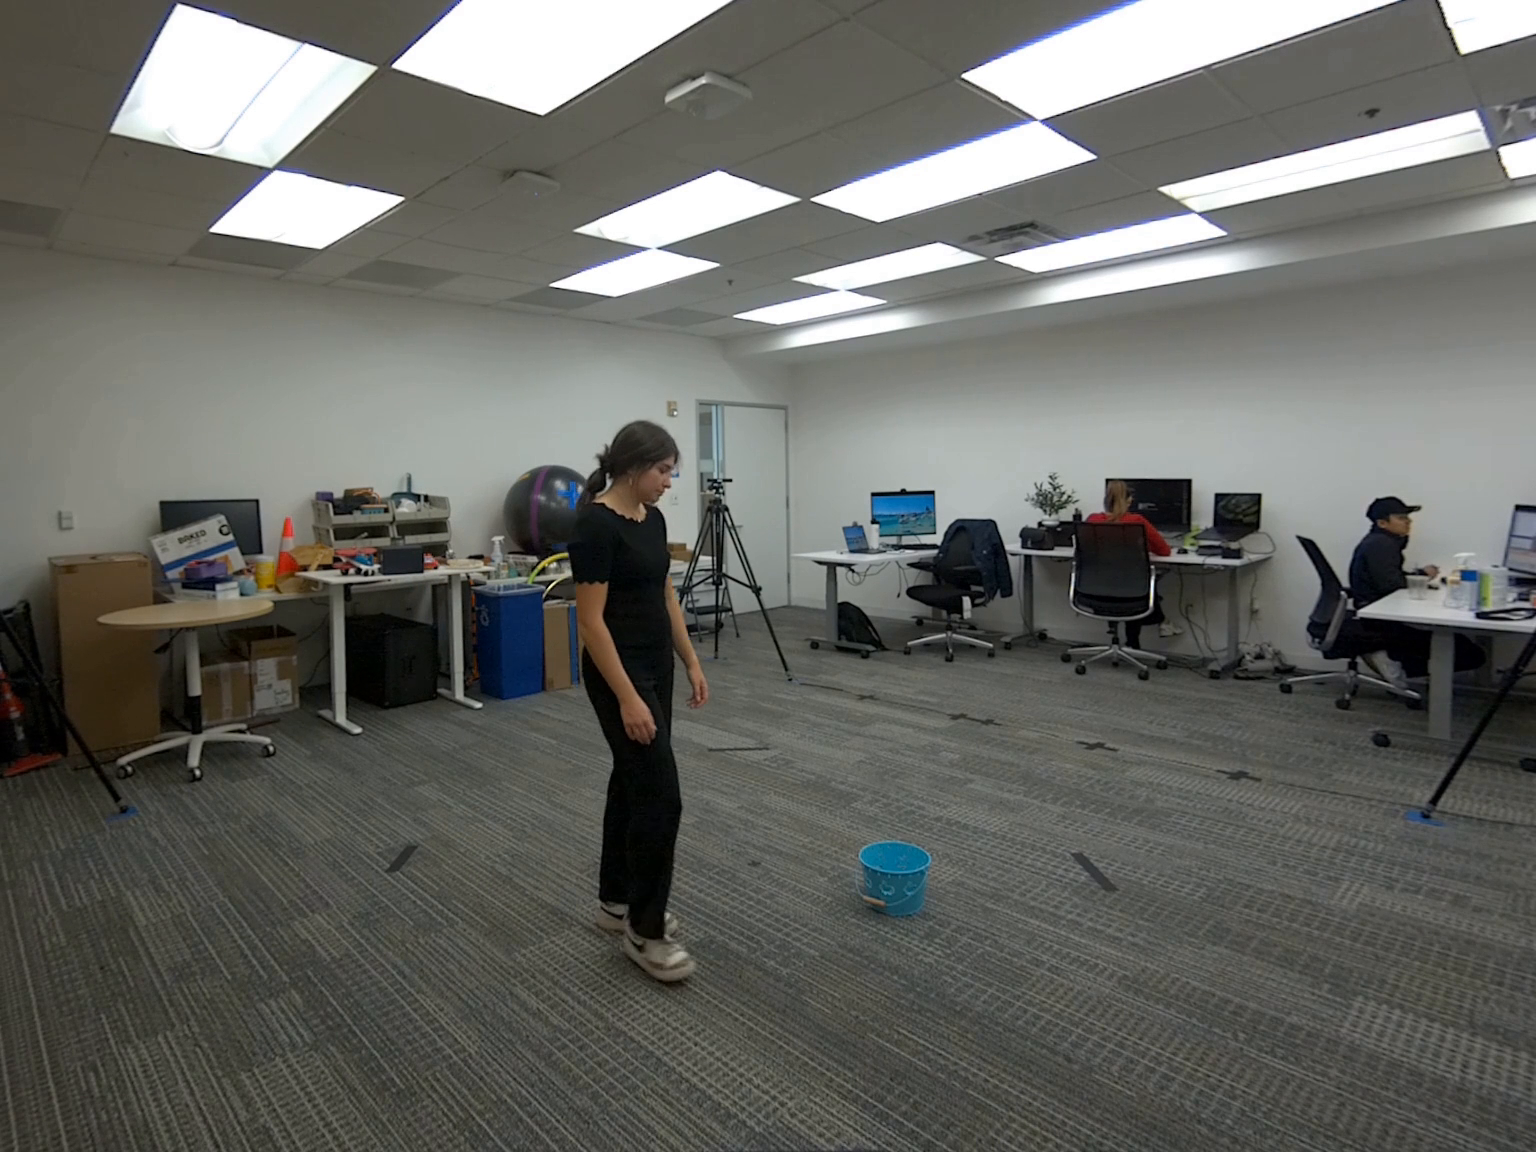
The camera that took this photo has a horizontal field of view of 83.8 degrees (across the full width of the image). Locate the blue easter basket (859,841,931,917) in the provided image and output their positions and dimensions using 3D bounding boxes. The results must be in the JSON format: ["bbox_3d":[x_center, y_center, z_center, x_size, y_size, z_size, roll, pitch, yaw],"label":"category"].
[{"bbox_3d":[0.412,0.991,2.804,0.243,0.155,0.245,-2,5,-2],"label":"blue easter basket"}]
